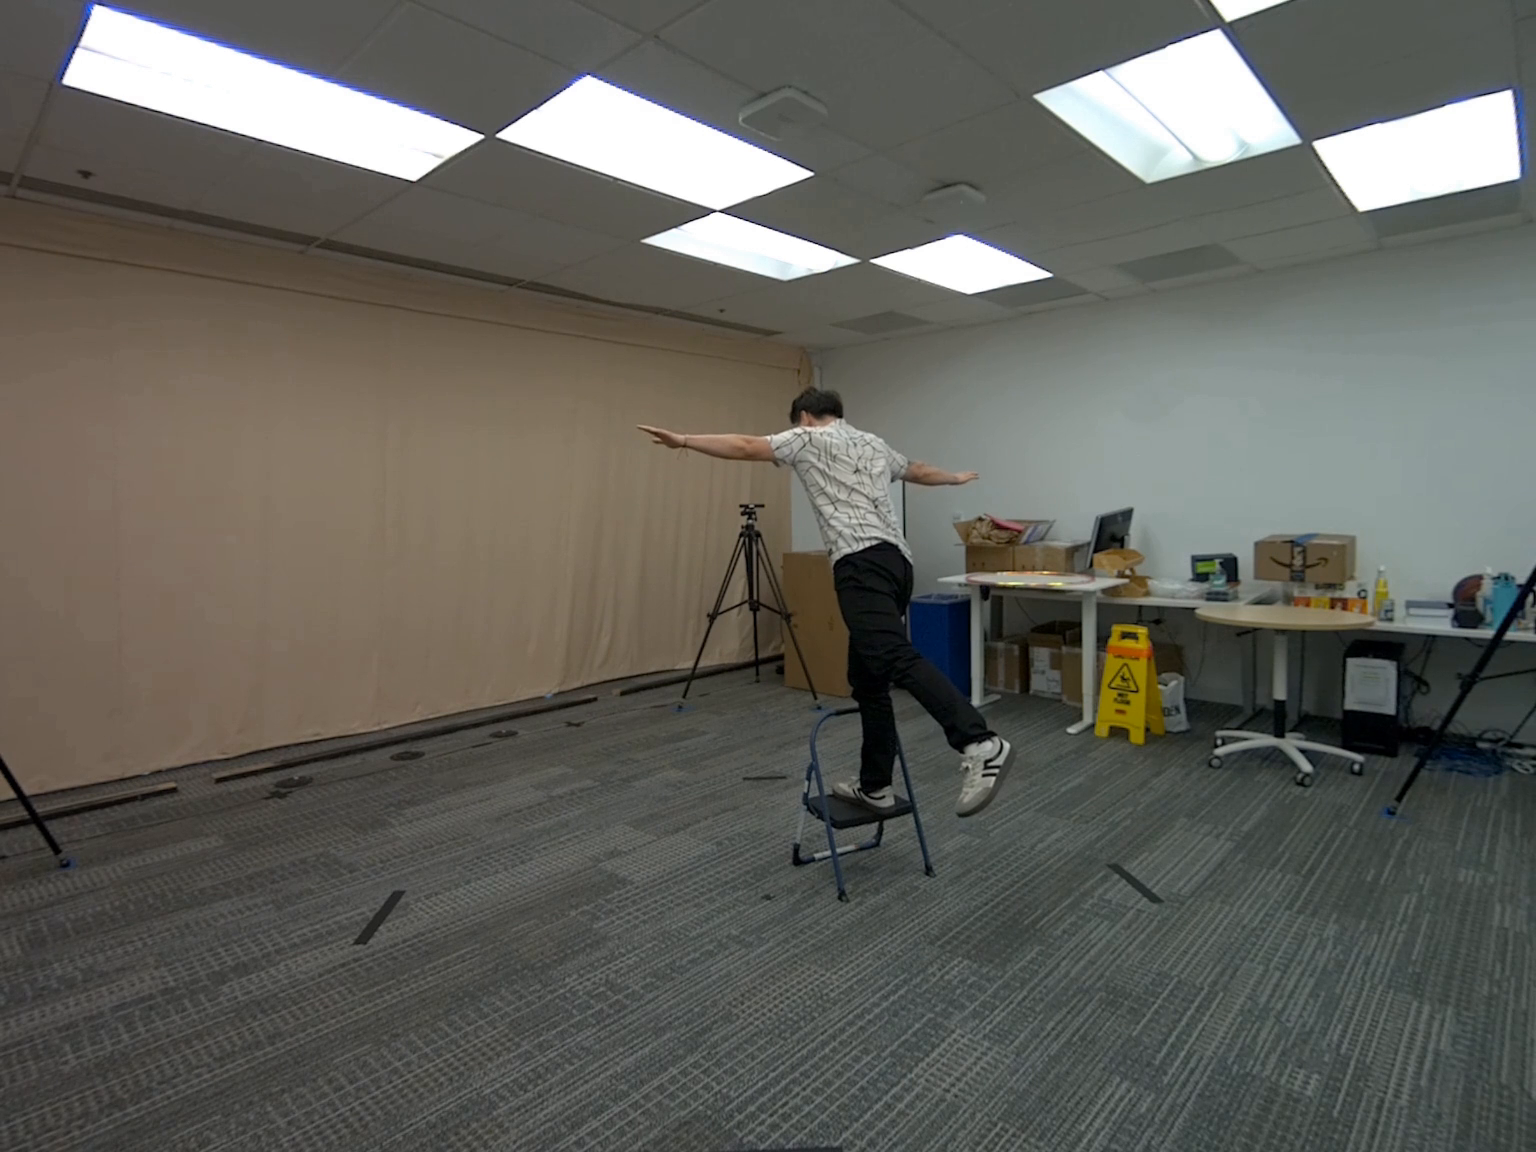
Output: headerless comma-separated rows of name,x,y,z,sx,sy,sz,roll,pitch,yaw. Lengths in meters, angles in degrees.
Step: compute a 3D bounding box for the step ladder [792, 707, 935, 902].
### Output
step ladder,0.357,0.813,3.174,0.419,0.605,0.359,-3,4,-30
